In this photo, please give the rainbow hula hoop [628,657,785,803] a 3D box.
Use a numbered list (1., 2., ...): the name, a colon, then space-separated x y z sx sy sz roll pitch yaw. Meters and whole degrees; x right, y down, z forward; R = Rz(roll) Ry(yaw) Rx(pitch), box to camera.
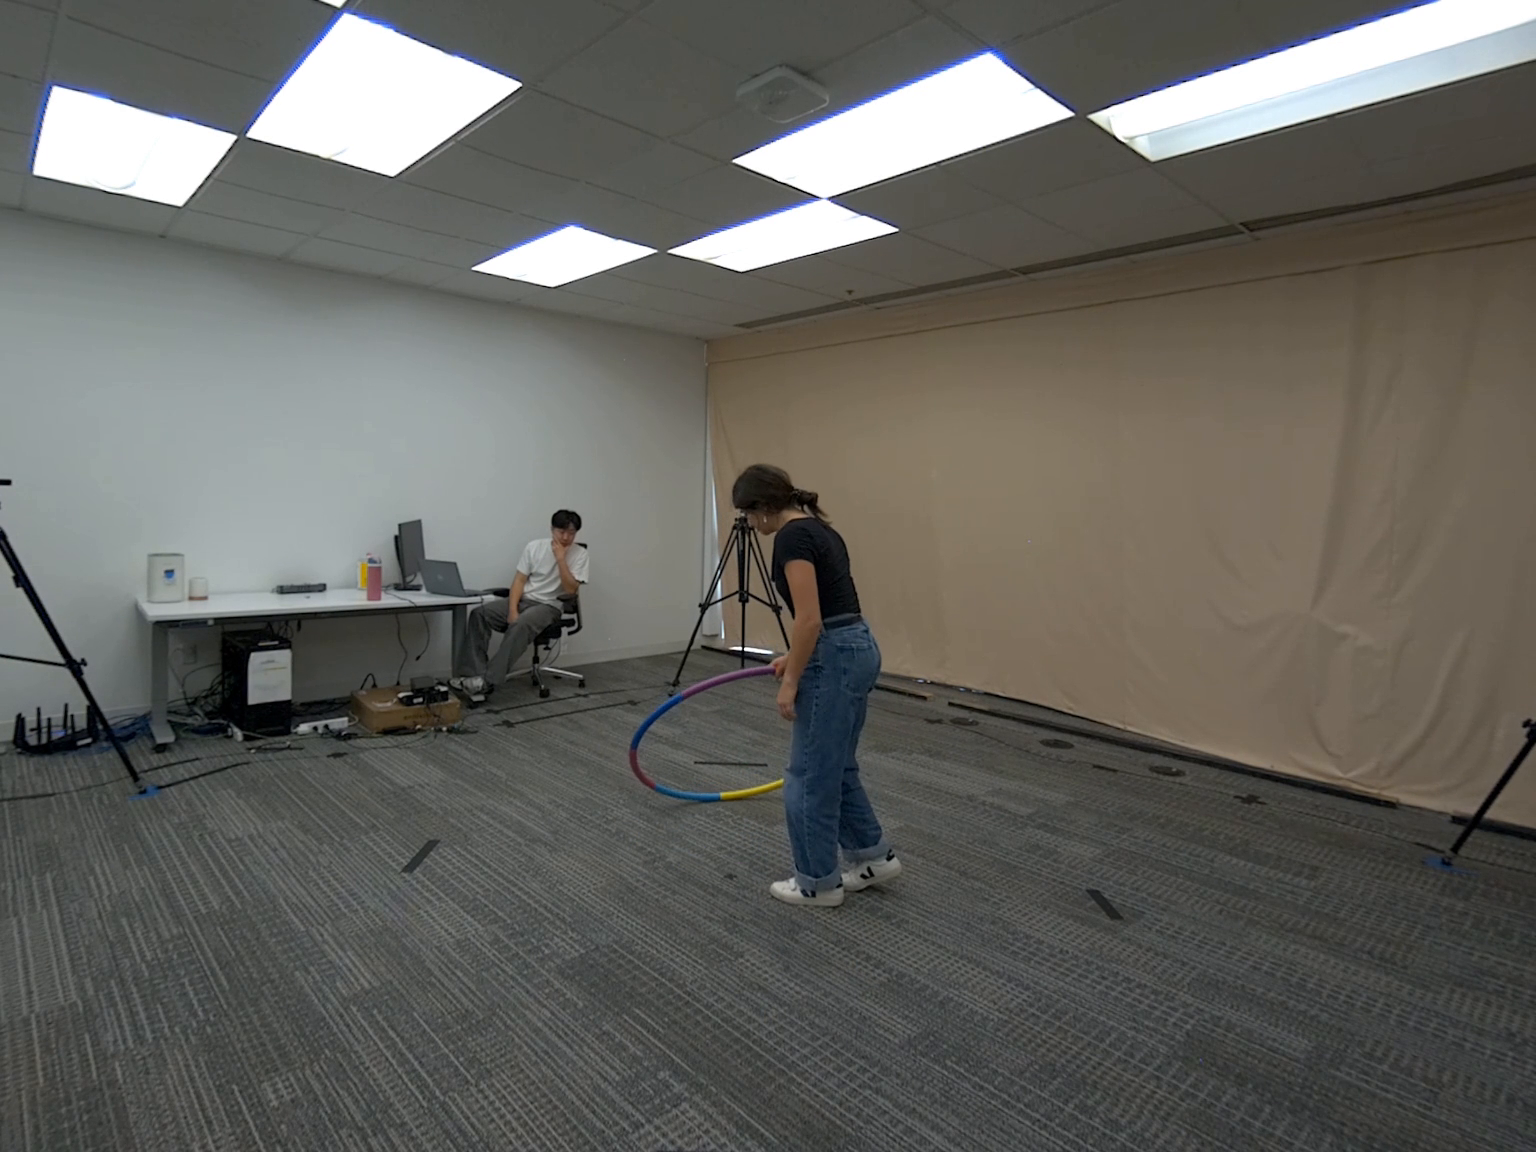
1. rainbow hula hoop: -0.108 0.691 3.565 0.965 0.965 0.036 0 47 -18
